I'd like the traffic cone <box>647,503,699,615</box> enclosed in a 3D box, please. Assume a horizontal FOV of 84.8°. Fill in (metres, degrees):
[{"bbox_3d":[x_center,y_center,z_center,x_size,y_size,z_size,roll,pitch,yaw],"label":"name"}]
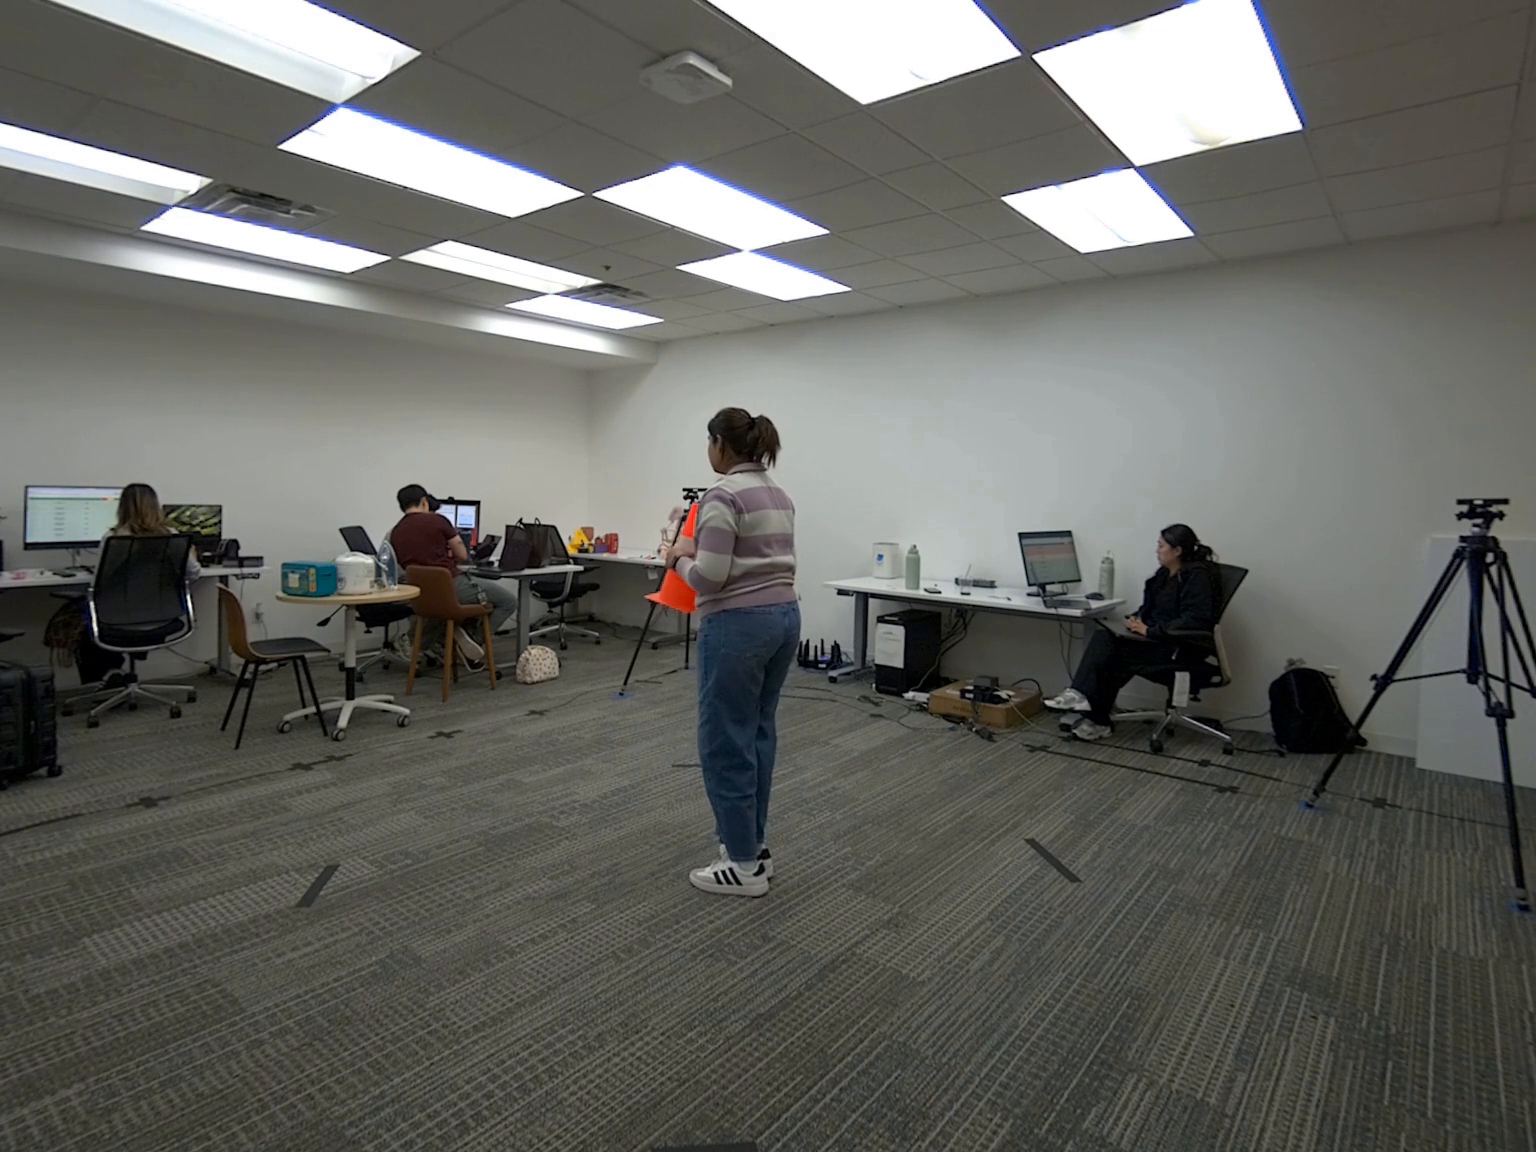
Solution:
[{"bbox_3d":[-0.309,-0.088,3.201,0.207,0.380,0.203,13,12,15],"label":"traffic cone"}]
